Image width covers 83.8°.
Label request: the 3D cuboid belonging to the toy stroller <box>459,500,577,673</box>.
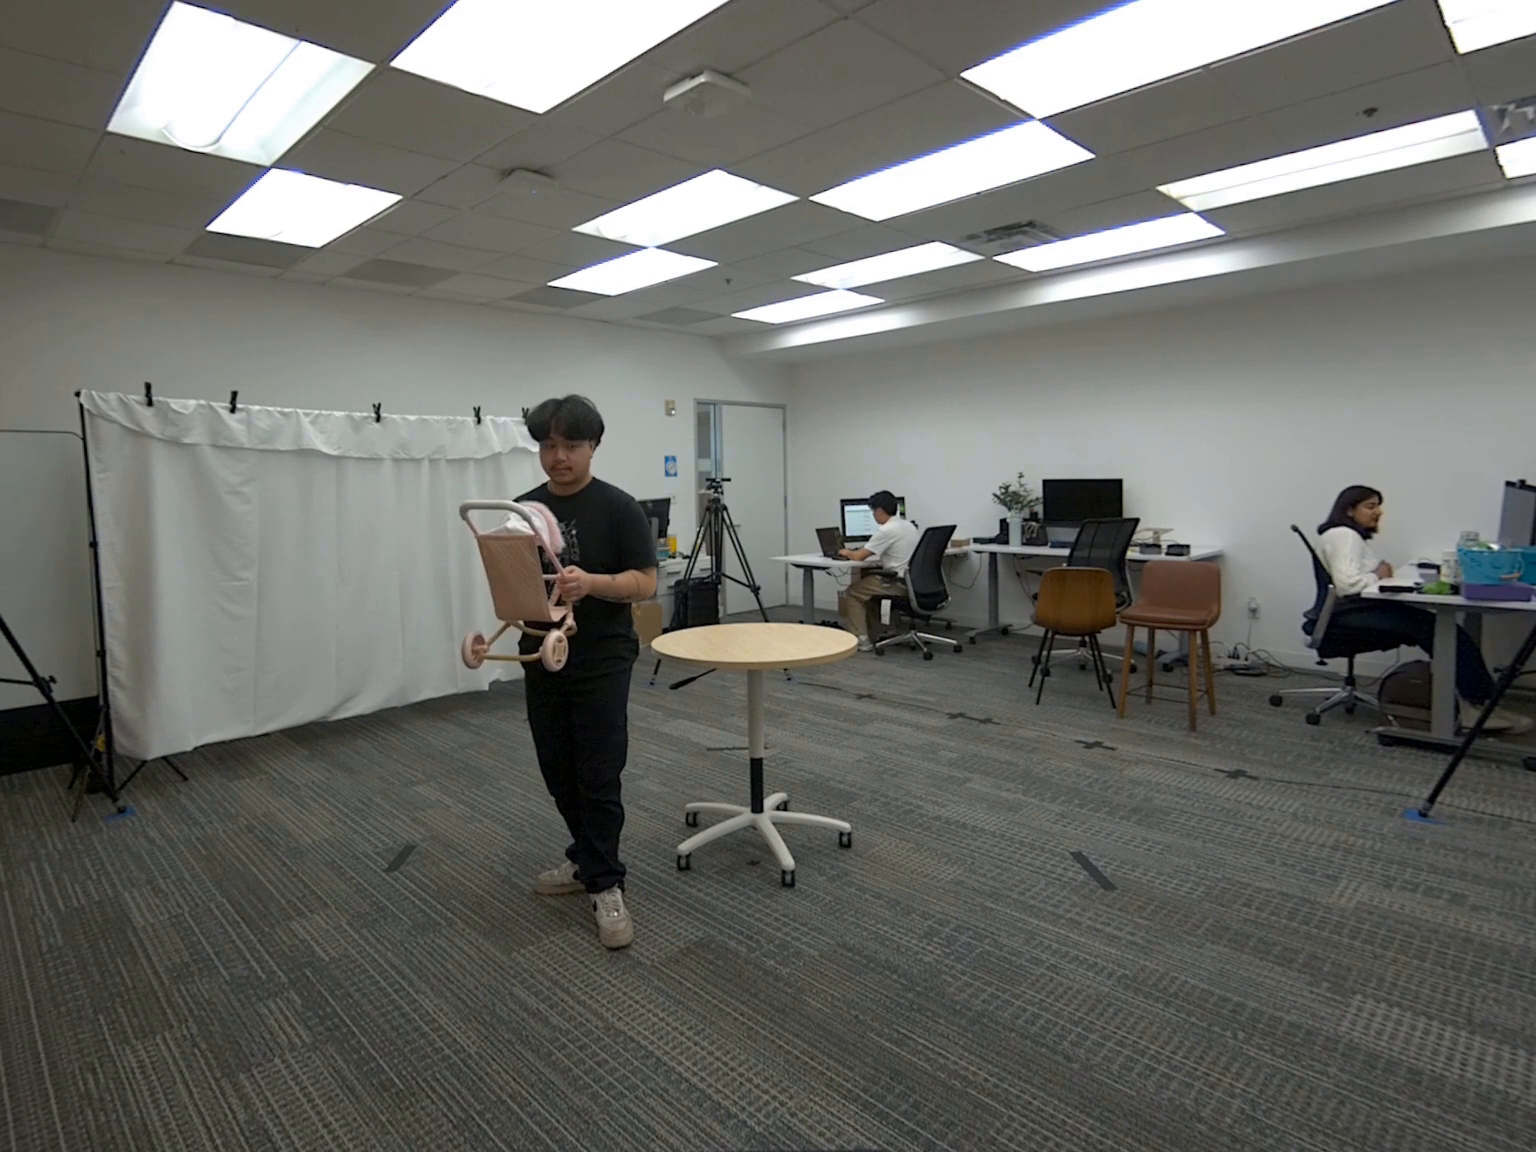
[{"bbox_3d":[-0.689,0.036,2.425,0.286,0.530,0.339,0,11,18],"label":"toy stroller"}]
